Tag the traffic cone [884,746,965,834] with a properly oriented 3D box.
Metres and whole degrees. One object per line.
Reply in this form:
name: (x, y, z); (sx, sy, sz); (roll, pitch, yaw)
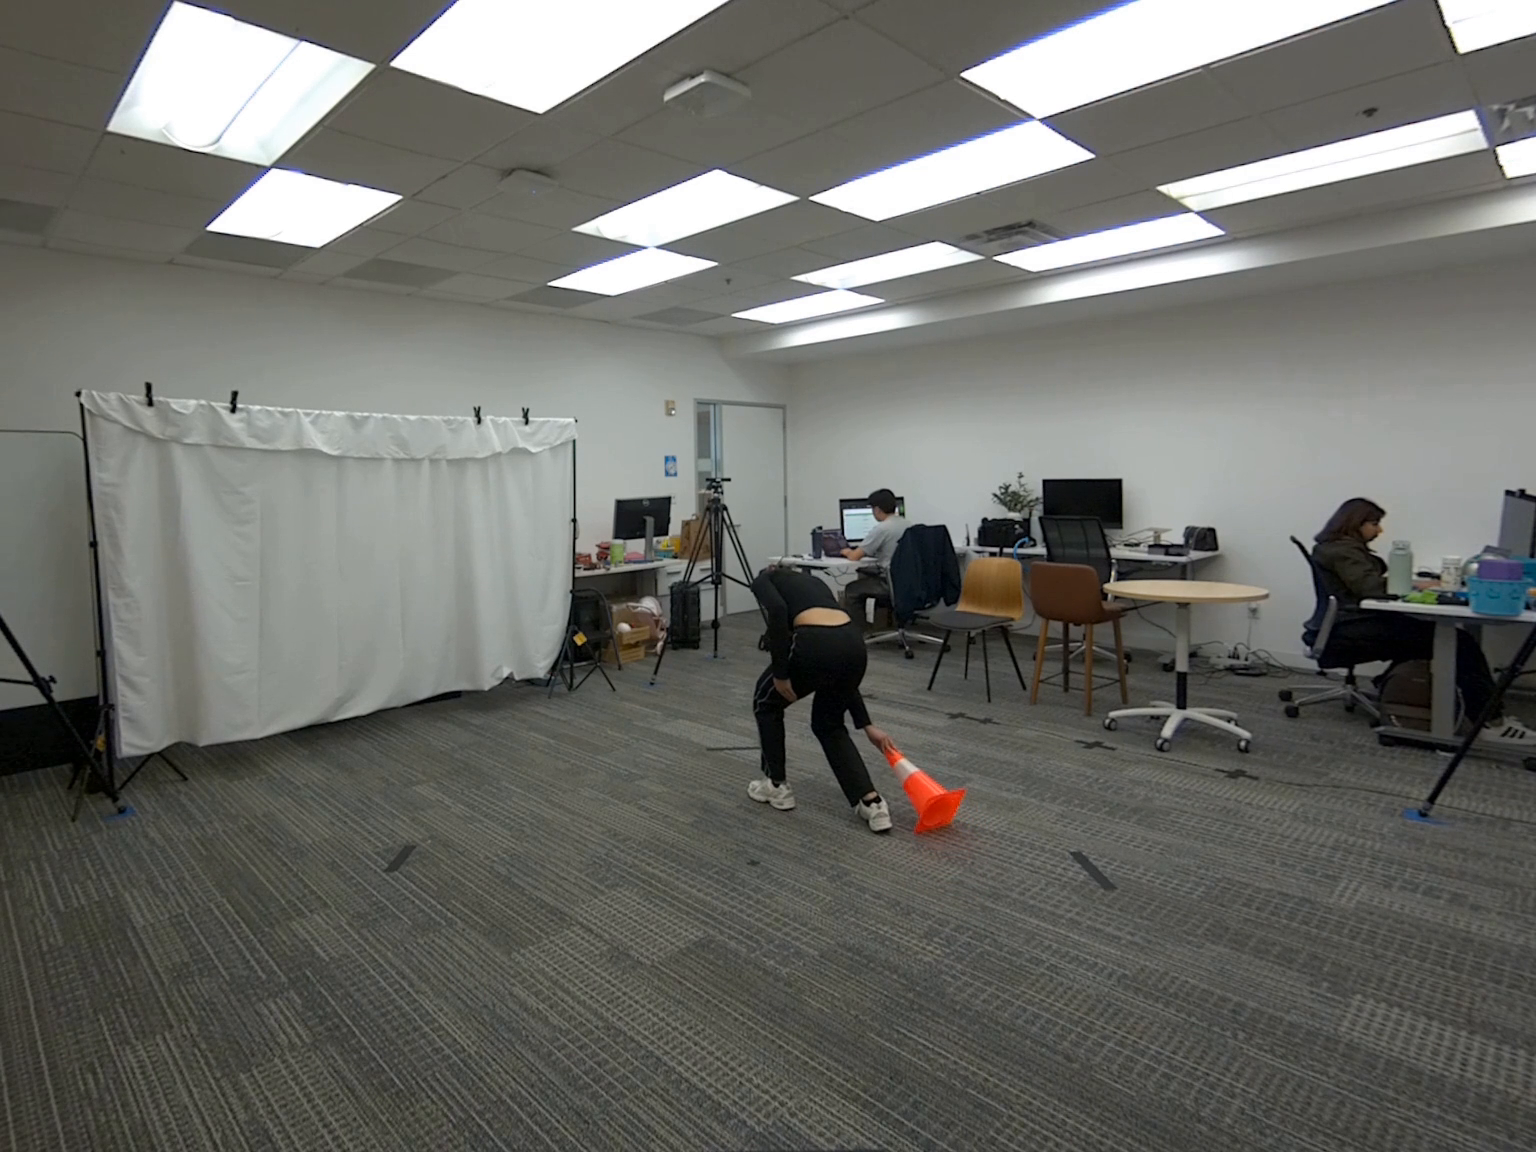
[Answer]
traffic cone: (0.584, 0.816, 3.476); (0.200, 0.200, 0.399); (-4, 33, -28)
